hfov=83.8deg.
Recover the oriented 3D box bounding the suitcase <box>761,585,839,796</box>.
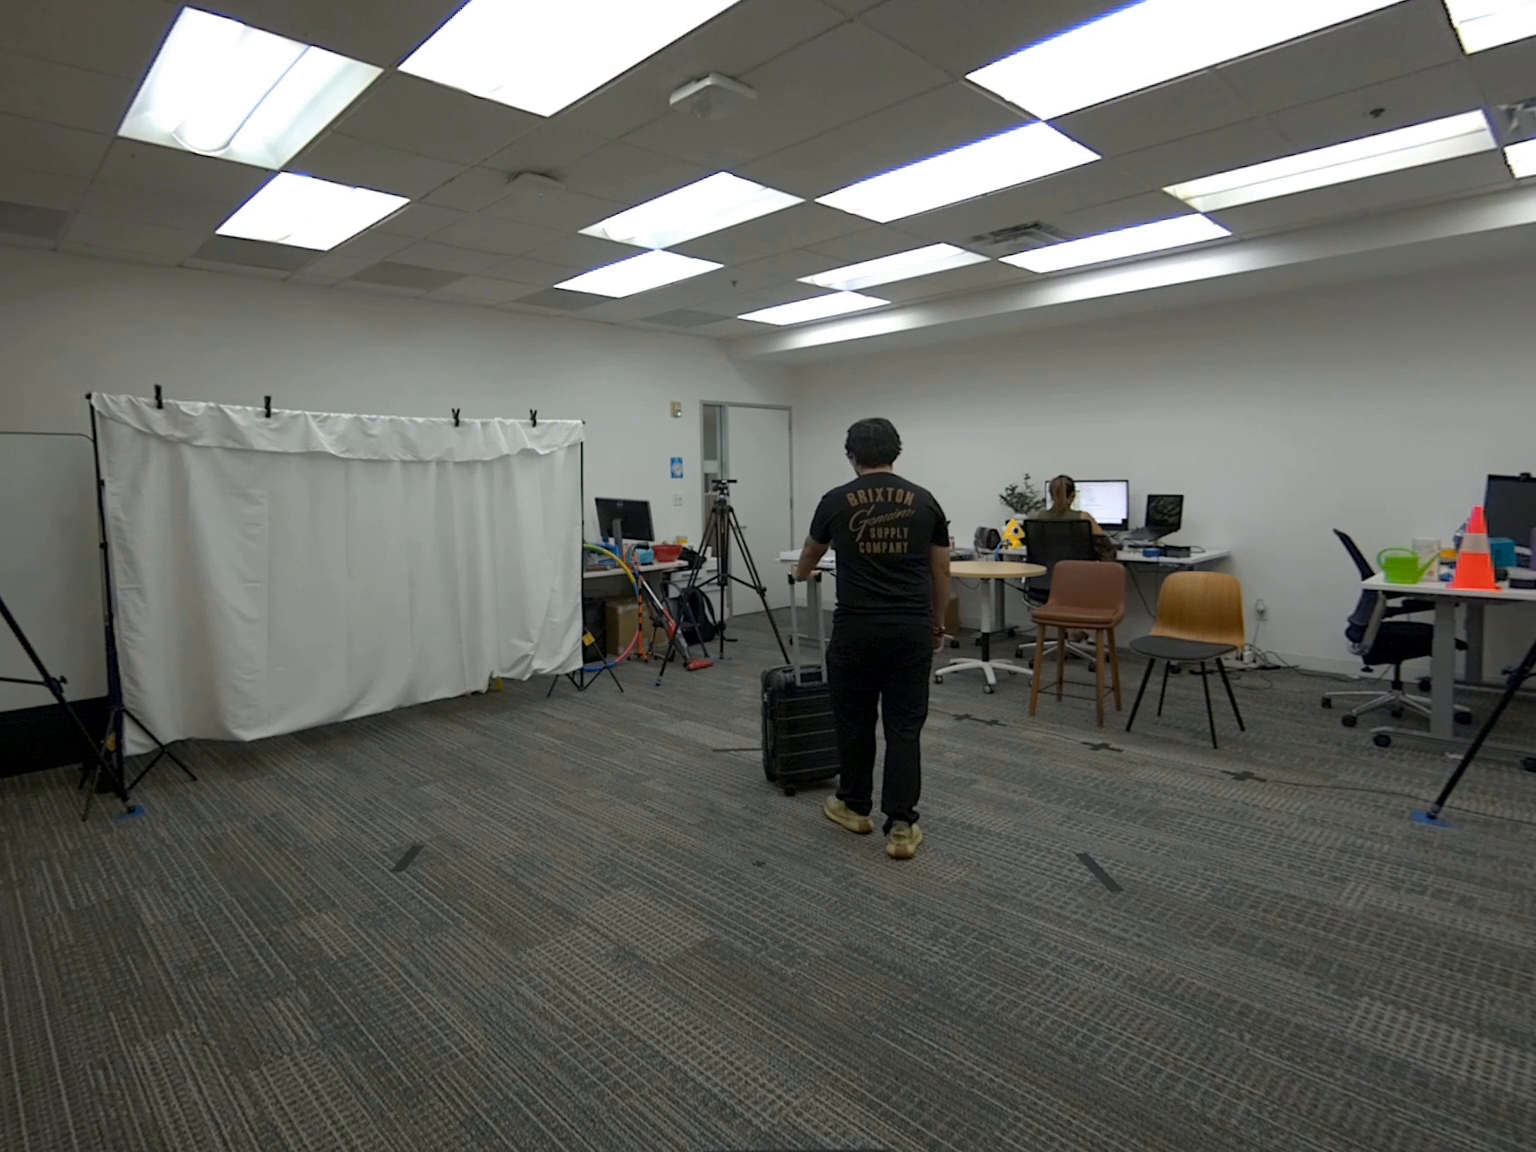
[{"bbox_3d":[0.151,0.476,3.915,0.379,0.978,0.261,-3,1,-15],"label":"suitcase"}]
